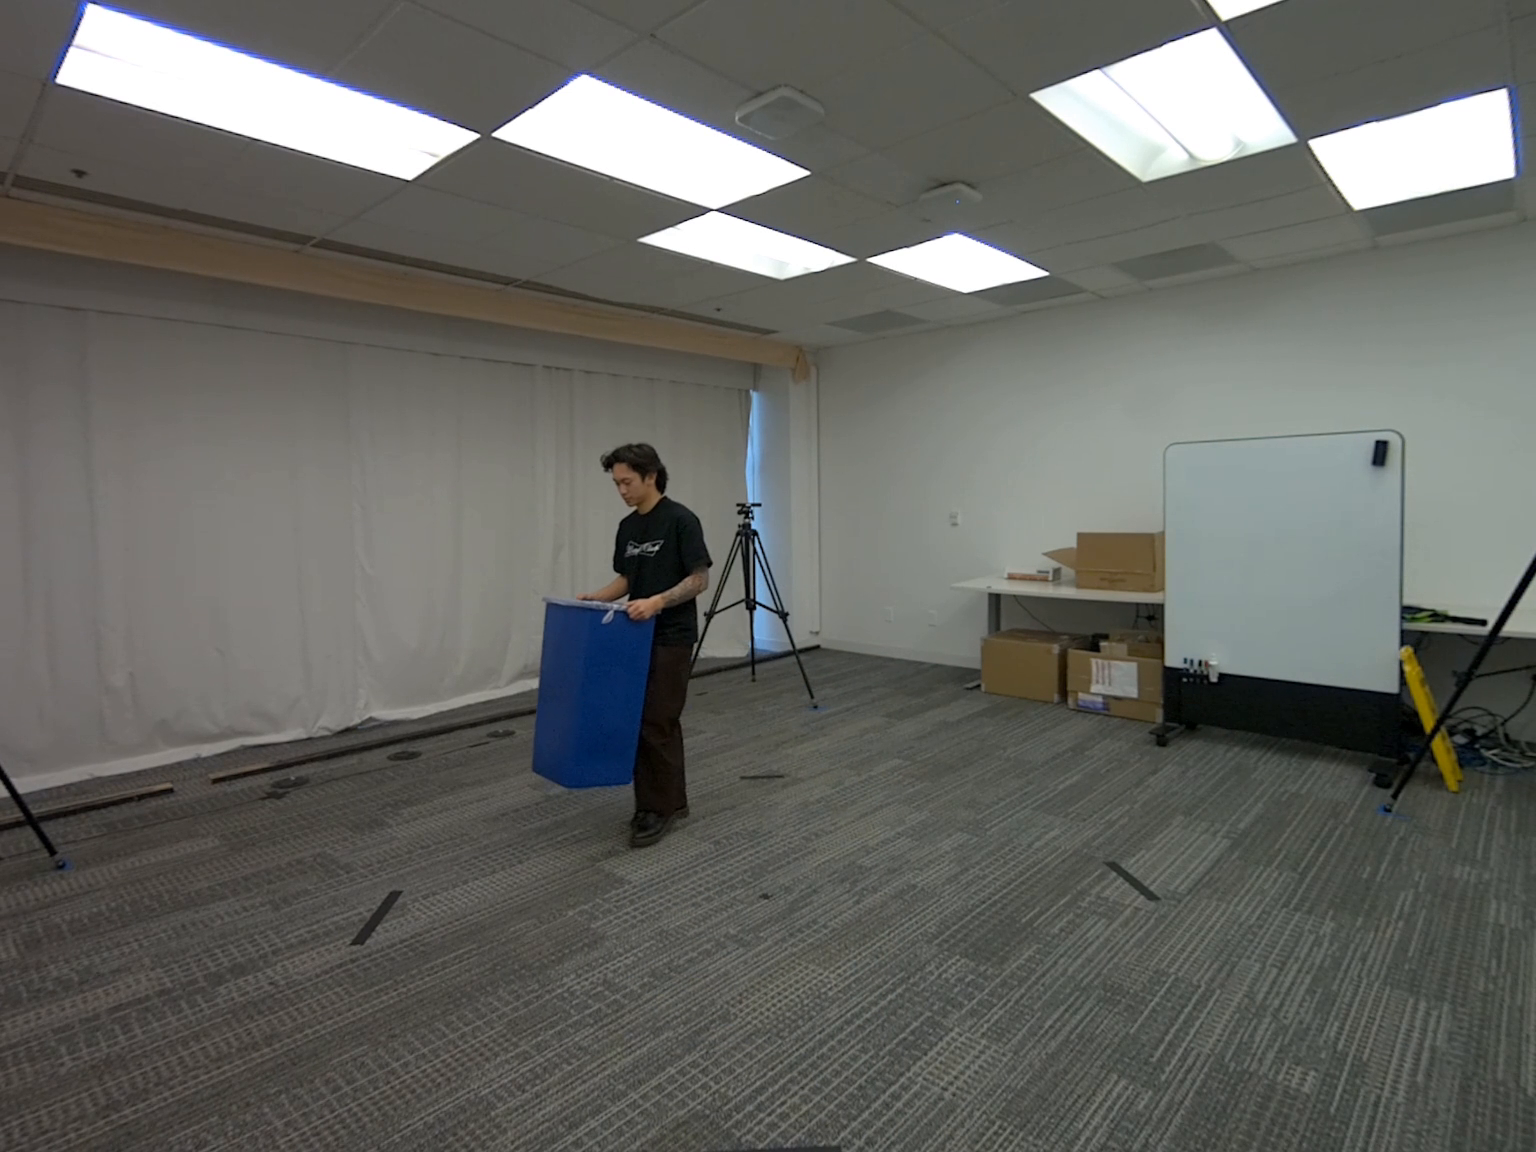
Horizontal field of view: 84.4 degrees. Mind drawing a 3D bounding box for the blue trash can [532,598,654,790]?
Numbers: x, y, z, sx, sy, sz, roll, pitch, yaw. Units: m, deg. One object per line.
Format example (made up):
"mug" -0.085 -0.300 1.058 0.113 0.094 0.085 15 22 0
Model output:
"blue trash can" -0.726 0.466 3.425 0.365 0.714 0.386 8 -3 -43
